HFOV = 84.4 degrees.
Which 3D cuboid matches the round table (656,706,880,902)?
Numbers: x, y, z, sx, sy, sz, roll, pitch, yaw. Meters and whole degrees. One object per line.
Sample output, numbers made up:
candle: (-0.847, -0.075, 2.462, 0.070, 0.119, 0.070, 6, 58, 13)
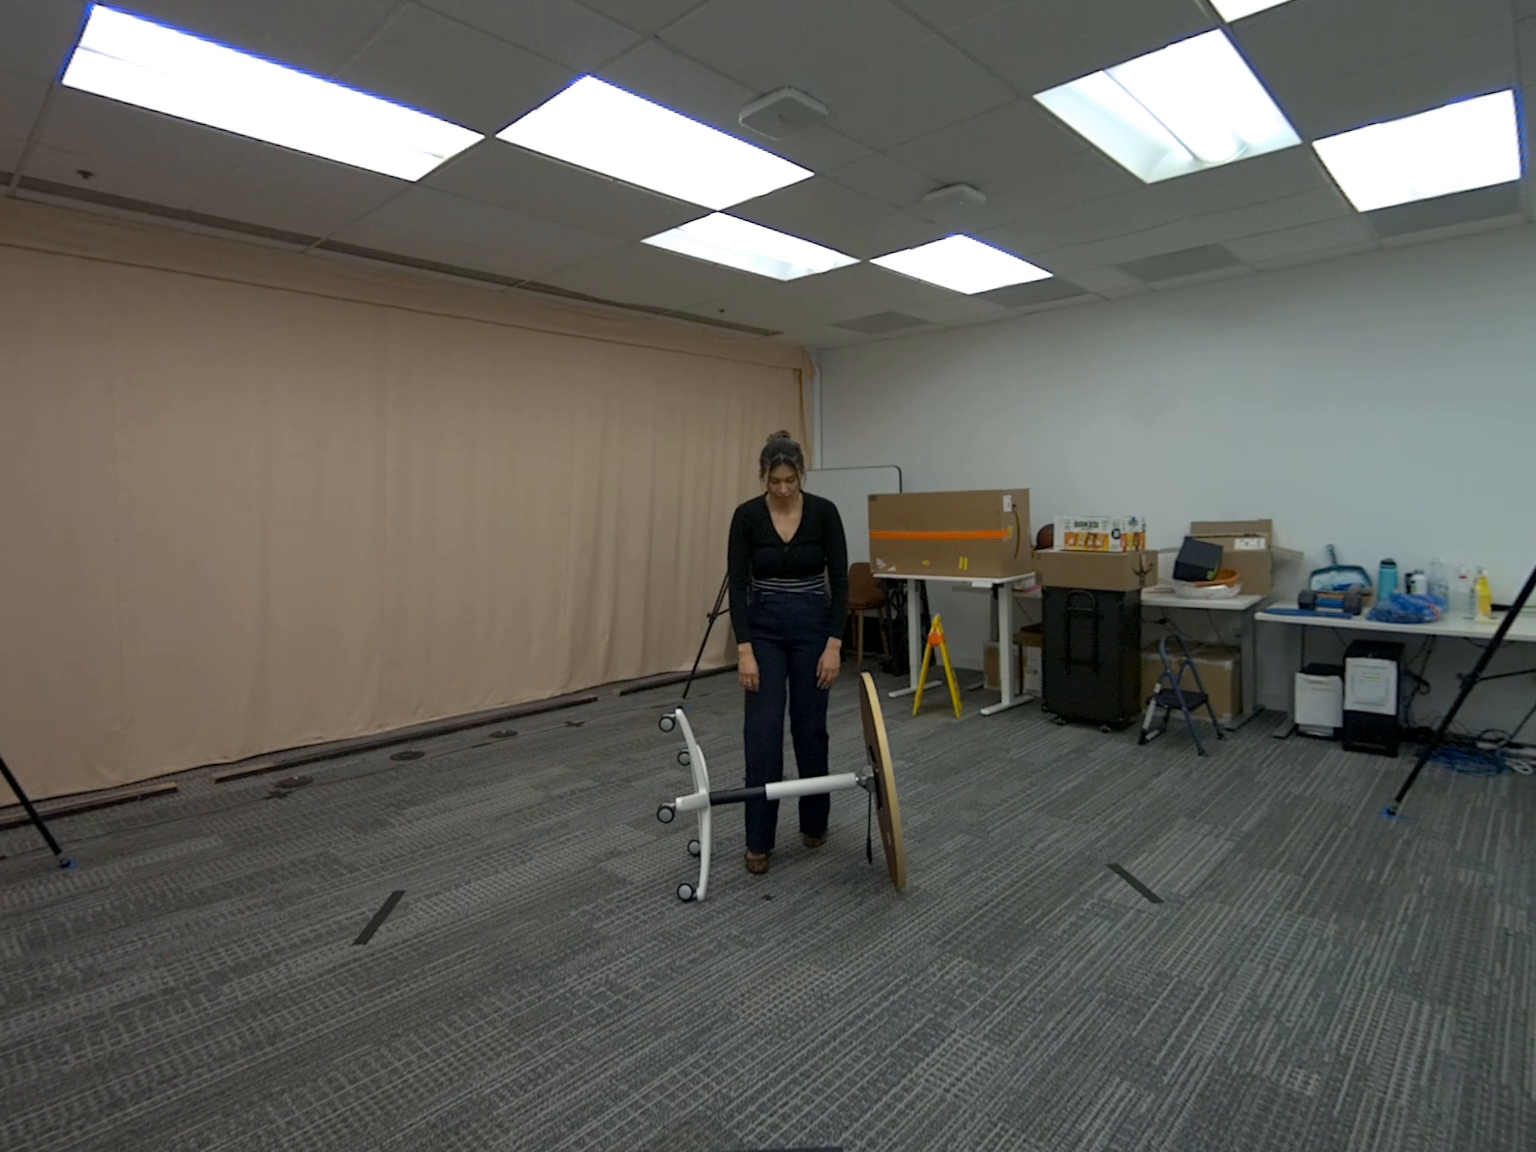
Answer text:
round table: (0.038, 0.799, 3.122, 0.797, 0.762, 0.763, -8, 4, 2)
